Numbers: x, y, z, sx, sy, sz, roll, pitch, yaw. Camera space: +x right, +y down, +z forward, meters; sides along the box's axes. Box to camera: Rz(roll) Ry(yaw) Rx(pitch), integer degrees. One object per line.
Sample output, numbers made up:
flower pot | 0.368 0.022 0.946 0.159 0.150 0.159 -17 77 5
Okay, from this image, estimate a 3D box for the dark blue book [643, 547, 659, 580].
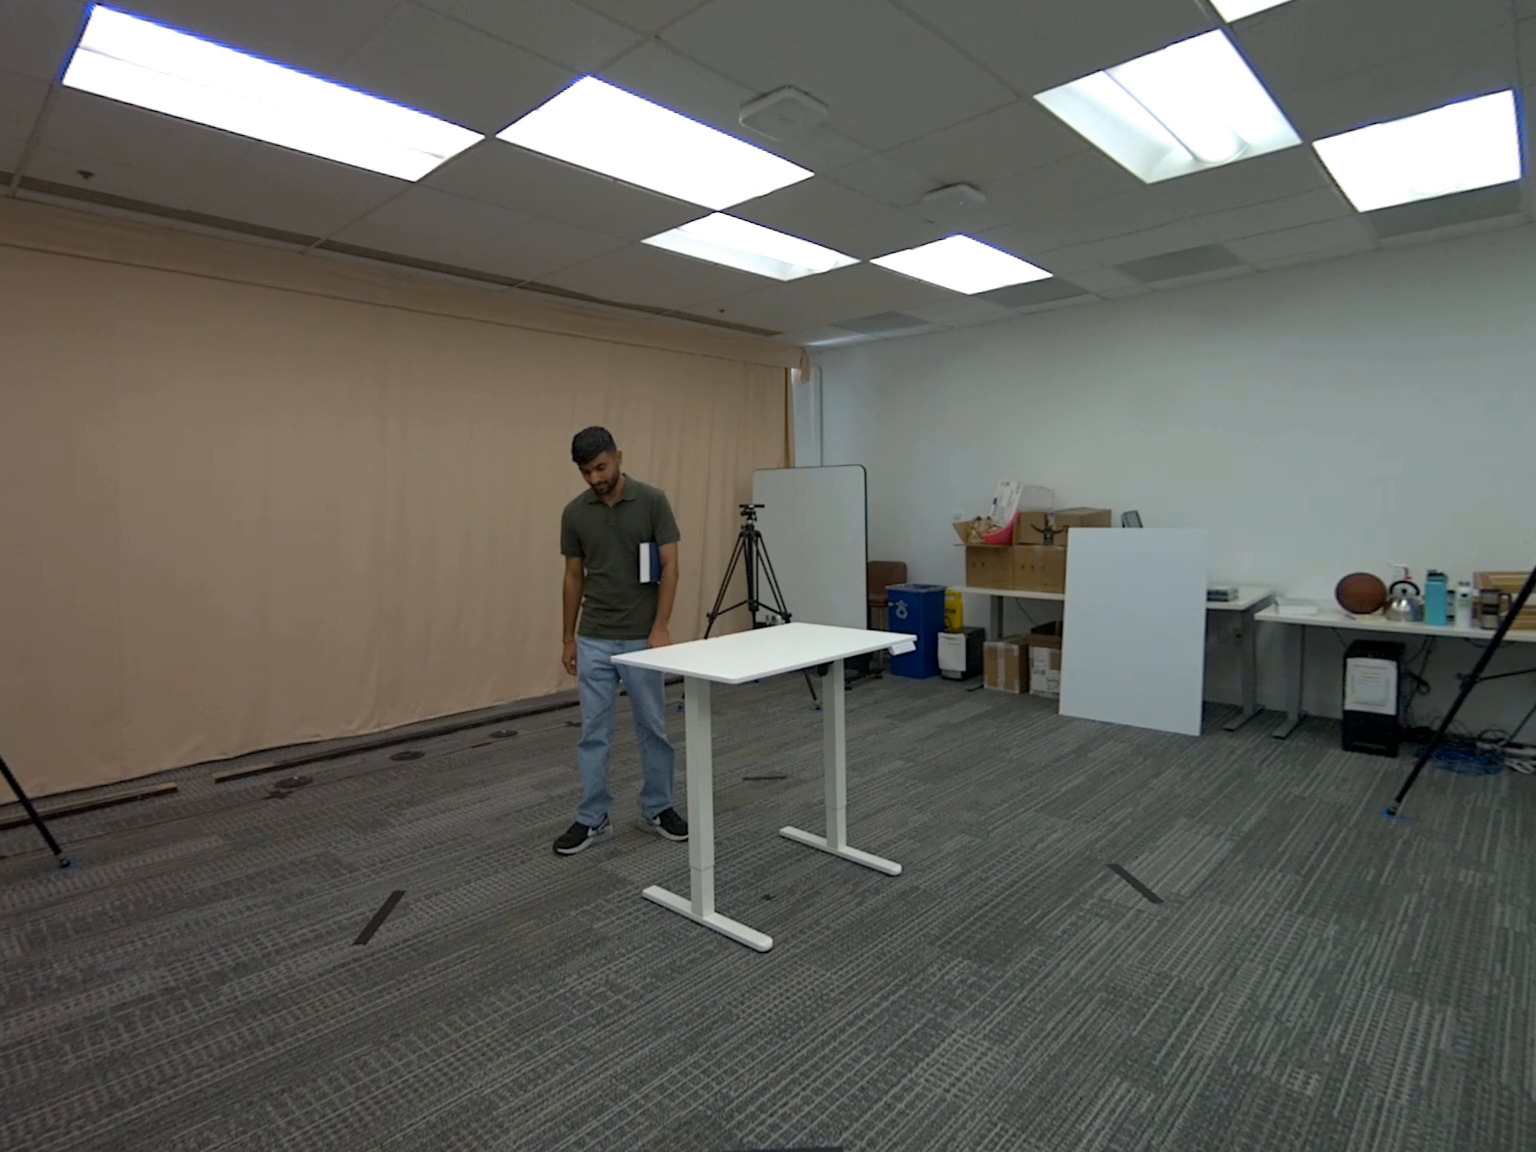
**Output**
dark blue book | -0.458 -0.062 3.462 0.045 0.164 0.242 -1 -4 7
